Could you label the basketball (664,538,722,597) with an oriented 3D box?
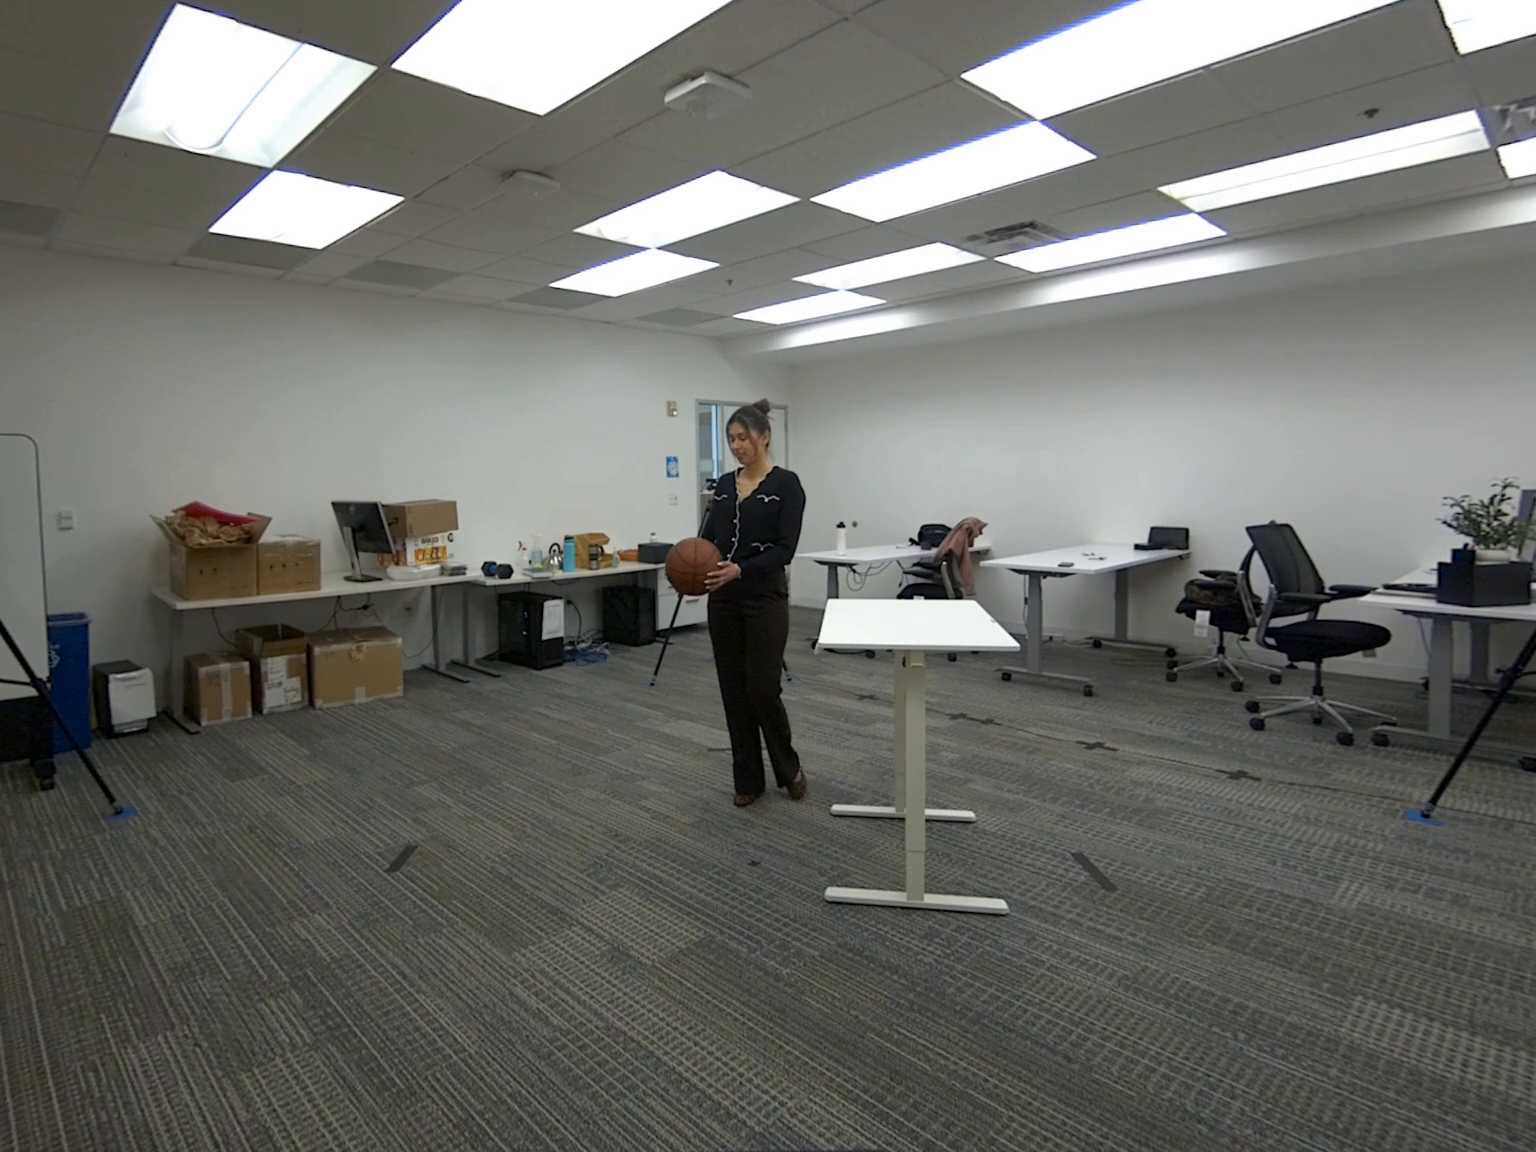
[{"bbox_3d":[-0.291,-0.035,3.421,0.236,0.235,0.237,-1,5,-2],"label":"basketball"}]
